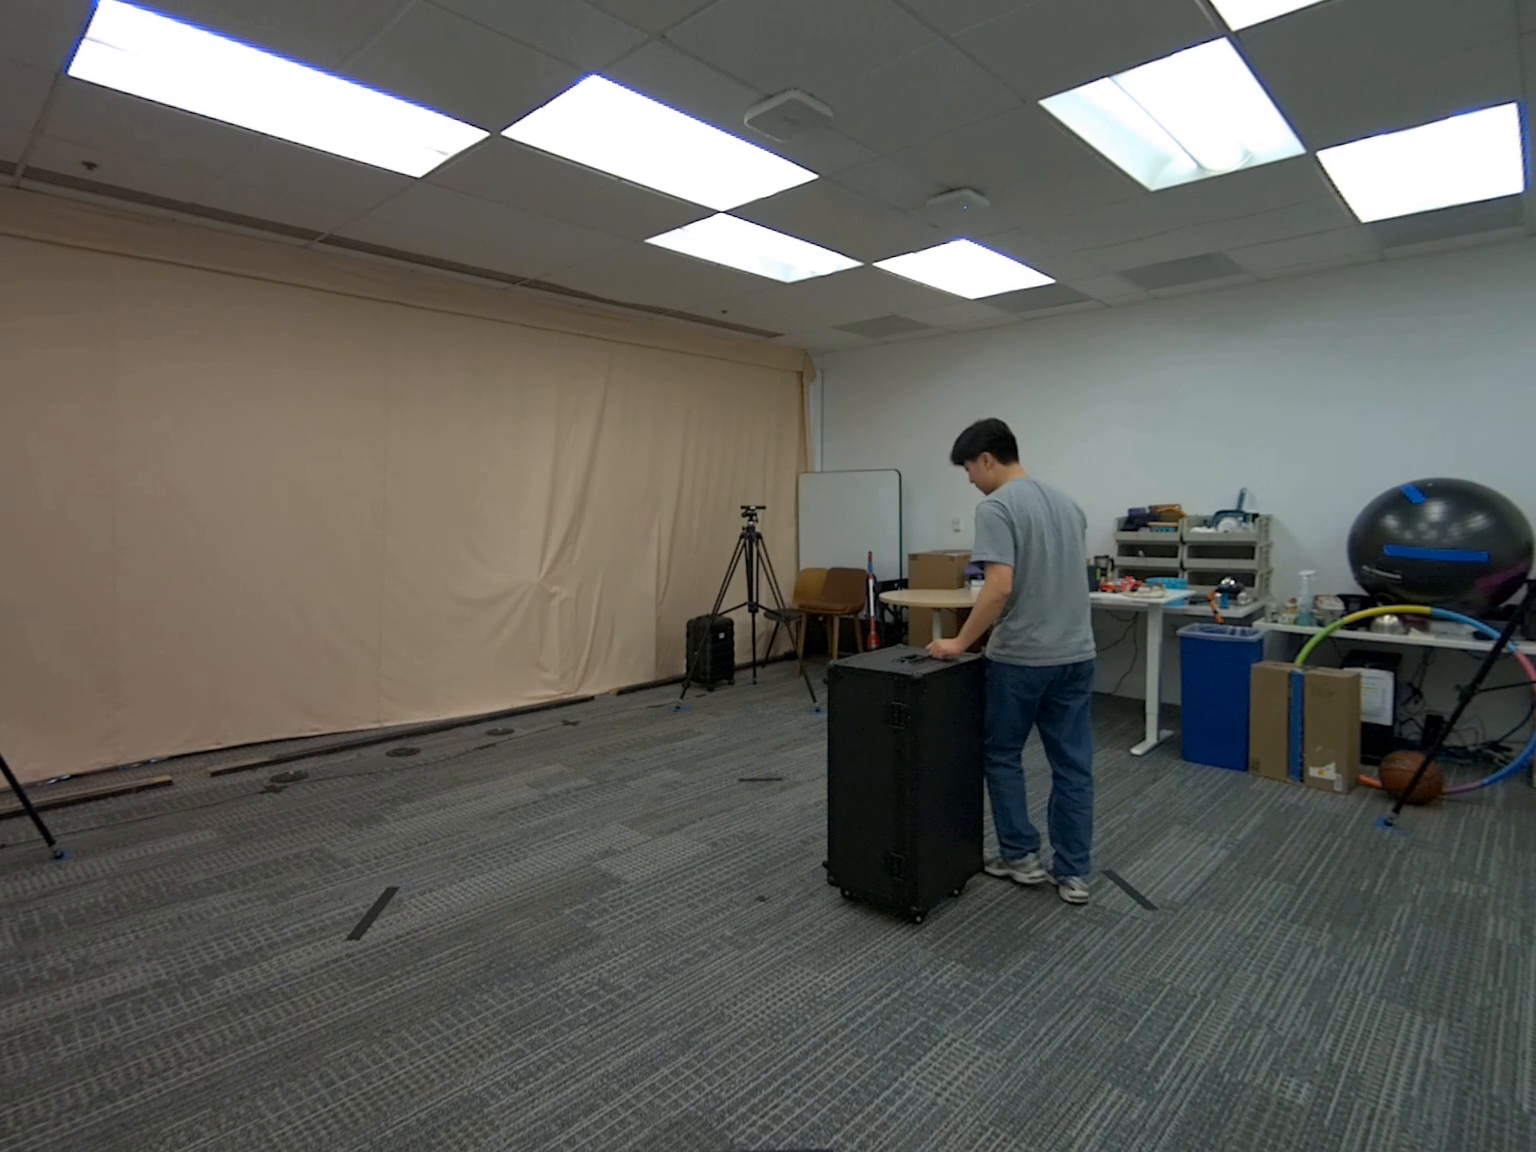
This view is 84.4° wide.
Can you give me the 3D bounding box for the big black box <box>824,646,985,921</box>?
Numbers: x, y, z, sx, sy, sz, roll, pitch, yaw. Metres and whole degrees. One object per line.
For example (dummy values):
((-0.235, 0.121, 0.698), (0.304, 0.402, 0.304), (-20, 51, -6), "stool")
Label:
((0.482, 0.721, 2.982), (0.409, 0.860, 0.505), (1, 3, 39), "big black box")
